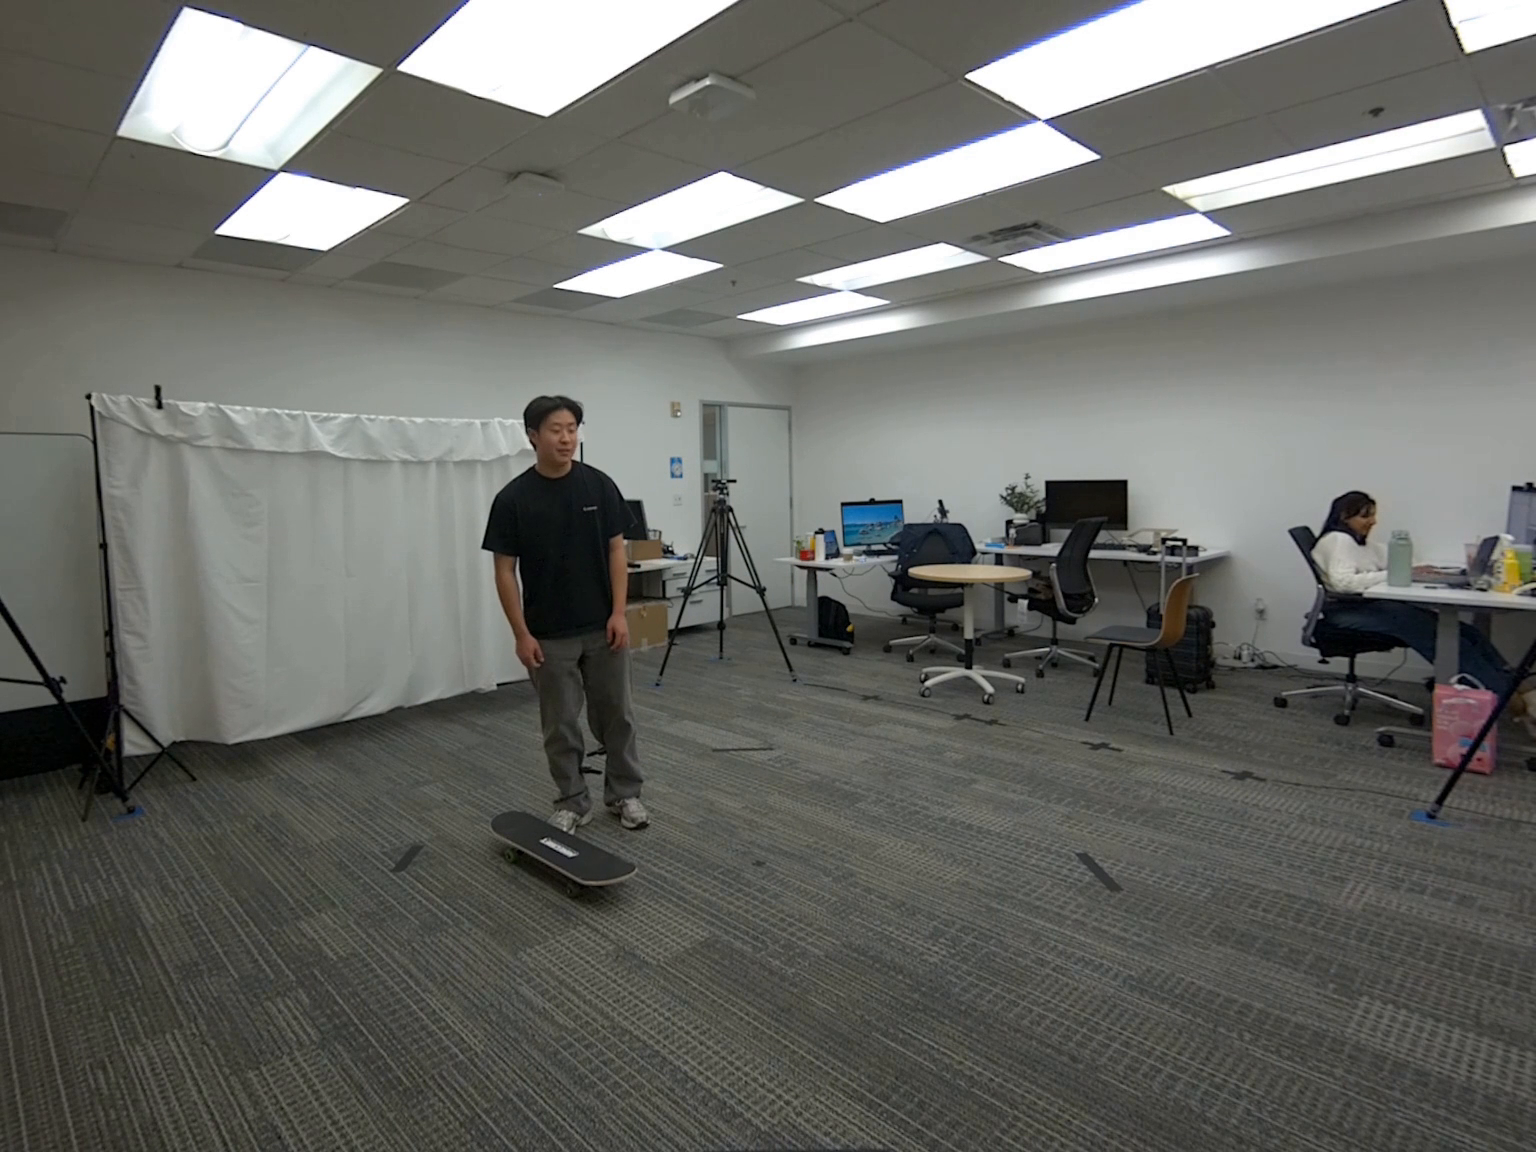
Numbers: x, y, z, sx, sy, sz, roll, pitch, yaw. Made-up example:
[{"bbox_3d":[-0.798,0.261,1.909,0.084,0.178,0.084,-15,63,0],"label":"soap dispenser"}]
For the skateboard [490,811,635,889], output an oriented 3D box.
[{"bbox_3d":[-0.753,1.011,3.080,0.188,0.110,0.810,-8,9,-44],"label":"skateboard"}]
